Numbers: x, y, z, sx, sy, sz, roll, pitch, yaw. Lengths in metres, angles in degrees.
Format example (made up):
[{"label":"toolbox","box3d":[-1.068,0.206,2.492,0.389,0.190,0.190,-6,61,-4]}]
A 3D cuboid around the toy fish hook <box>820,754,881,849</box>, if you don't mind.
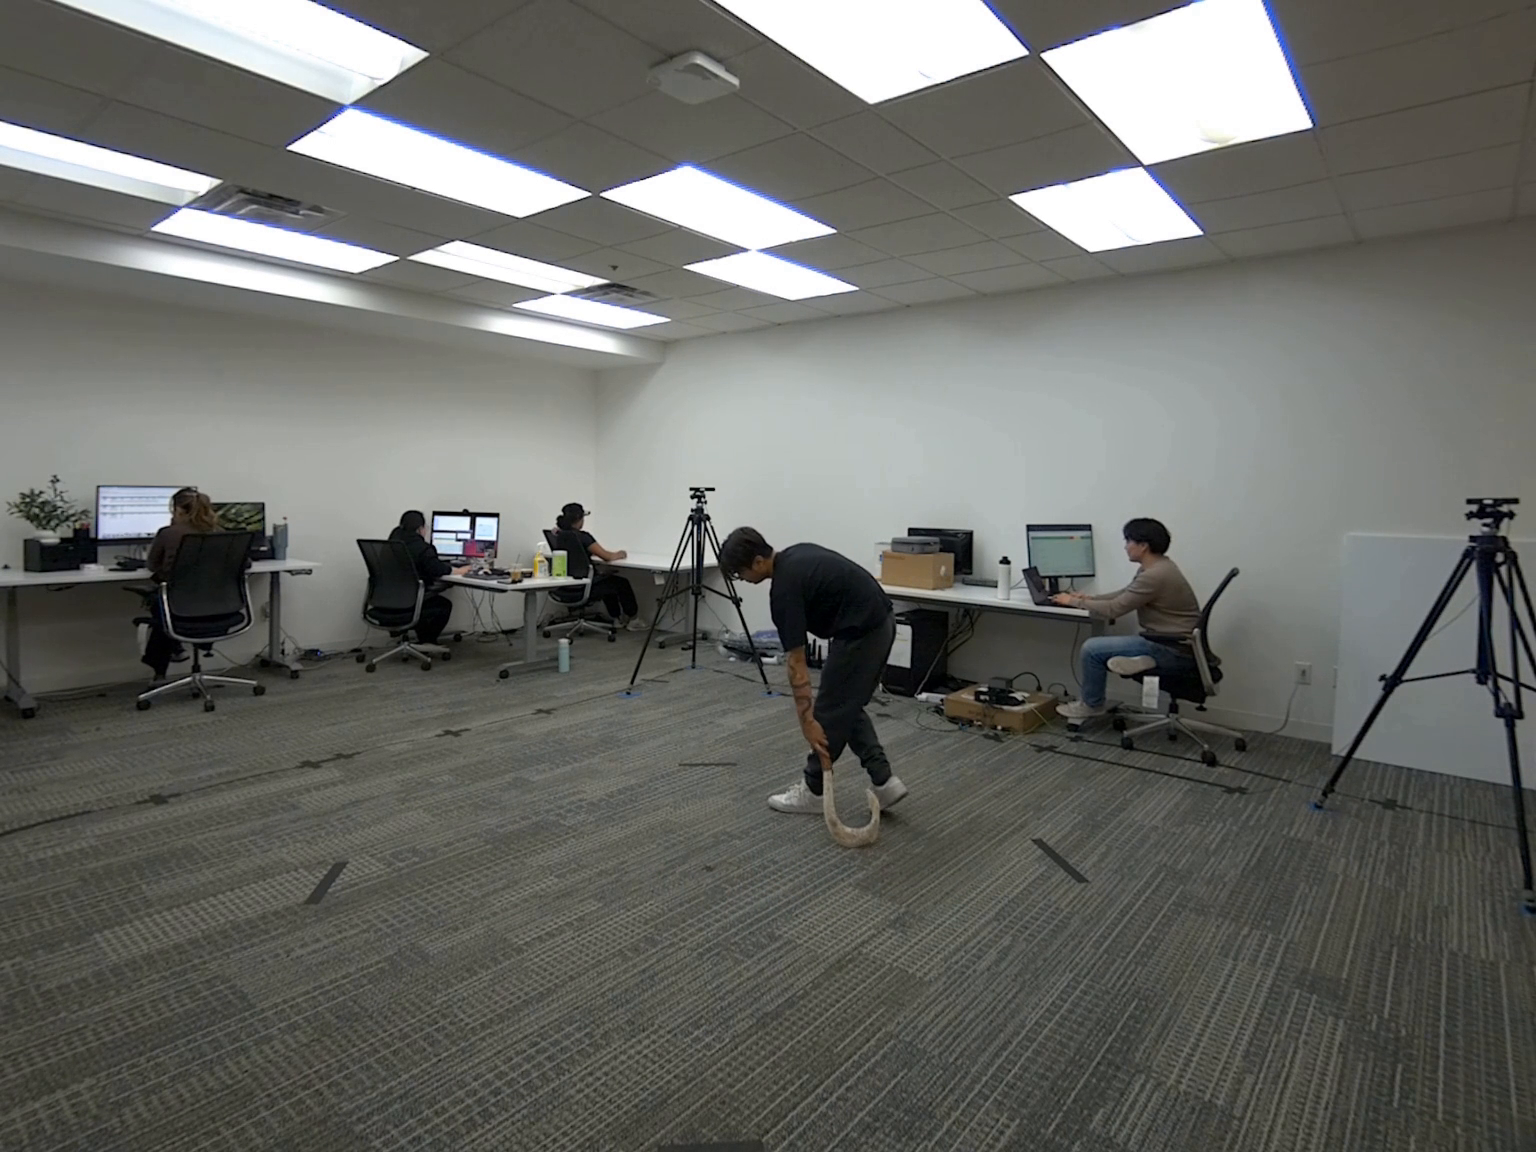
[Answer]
[{"label":"toy fish hook","box3d":[0.301,0.826,3.429,0.223,0.519,0.047,-13,-22,-9]}]
